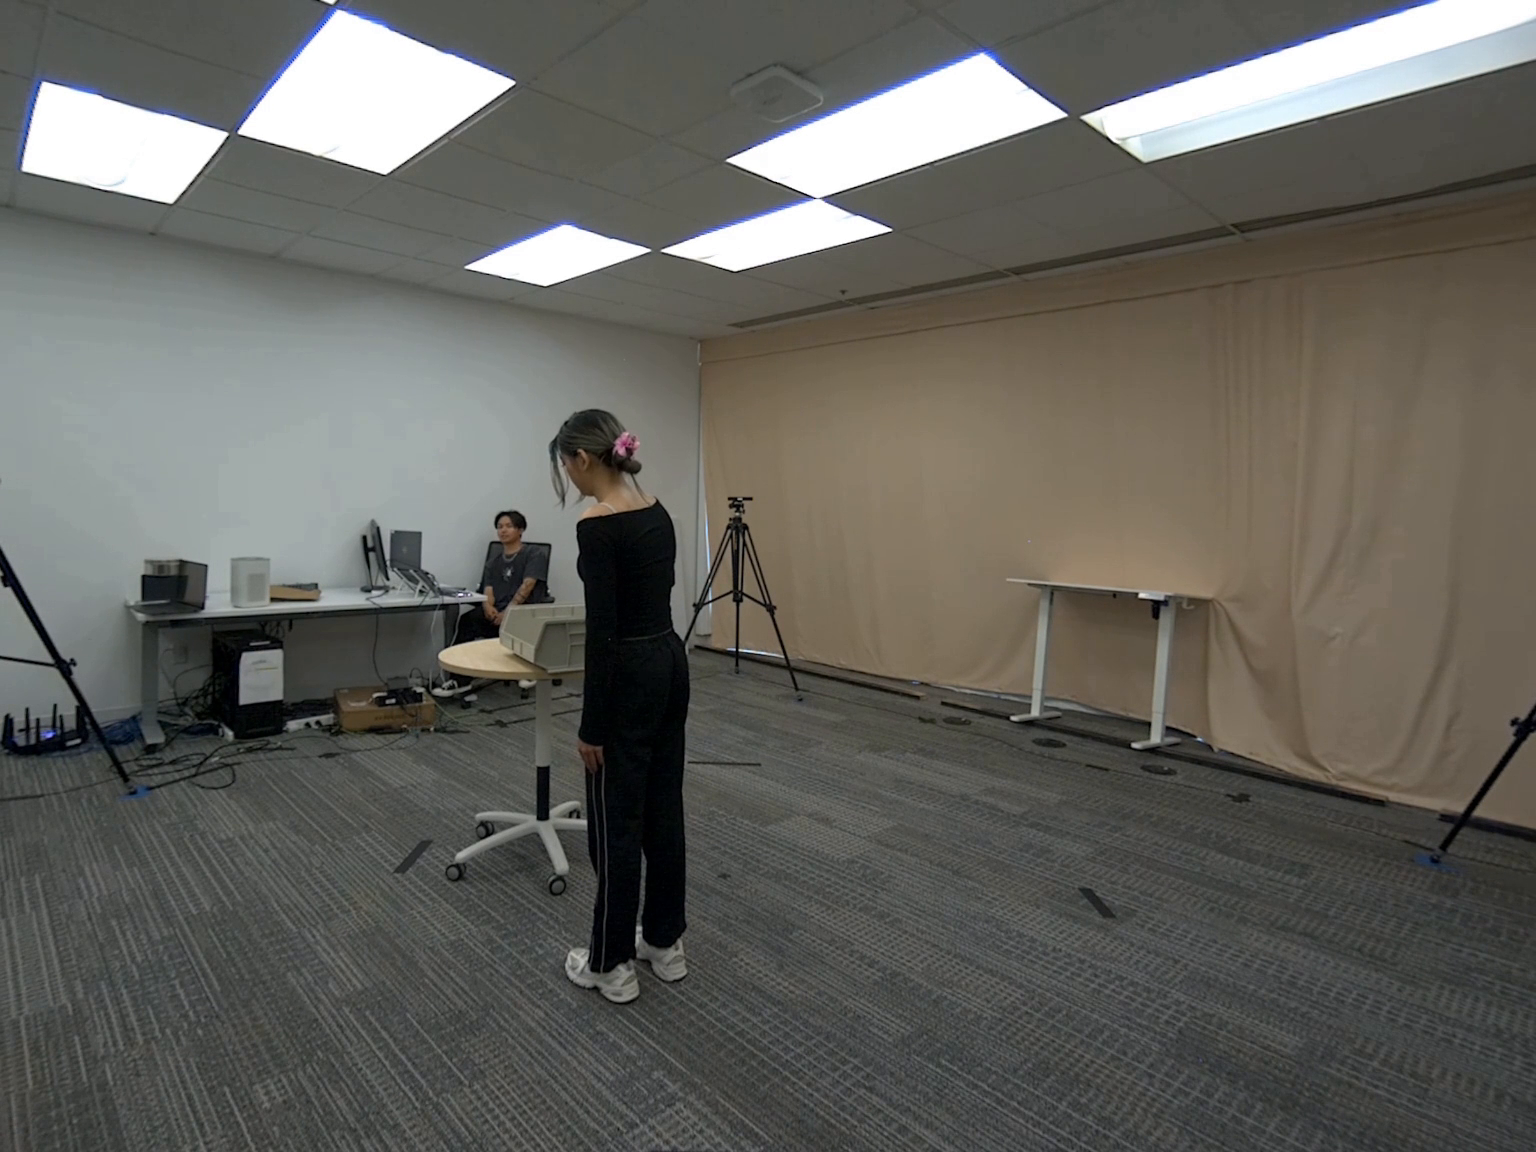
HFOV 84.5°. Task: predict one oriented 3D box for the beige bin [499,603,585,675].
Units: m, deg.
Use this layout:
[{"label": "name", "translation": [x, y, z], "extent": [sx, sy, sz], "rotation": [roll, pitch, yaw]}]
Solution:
[{"label": "beige bin", "translation": [-0.740, 0.217, 3.057], "extent": [0.369, 0.188, 0.432], "rotation": [-1, 4, -32]}]
